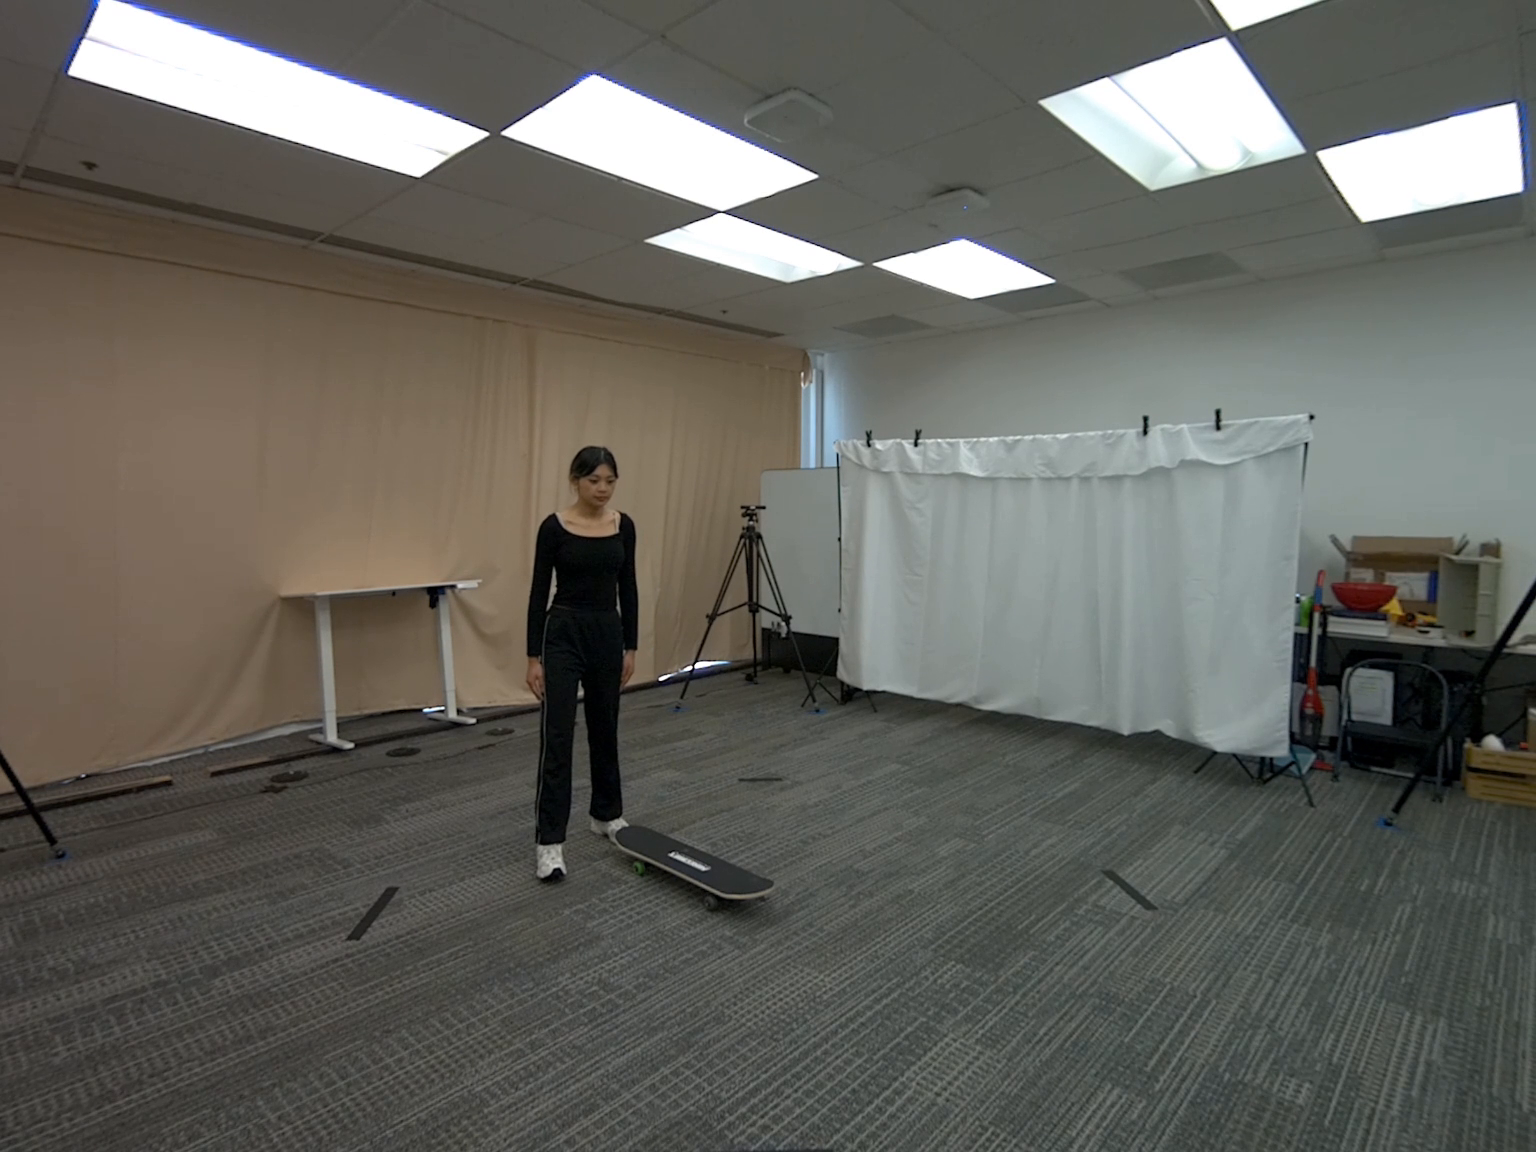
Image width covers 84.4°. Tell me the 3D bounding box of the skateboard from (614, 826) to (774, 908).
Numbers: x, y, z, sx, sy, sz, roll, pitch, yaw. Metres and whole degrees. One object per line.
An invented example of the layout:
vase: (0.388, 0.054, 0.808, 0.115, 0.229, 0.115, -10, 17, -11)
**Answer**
skateboard: (-0.287, 1.082, 3.098, 0.812, 0.110, 0.187, 4, 6, 44)
